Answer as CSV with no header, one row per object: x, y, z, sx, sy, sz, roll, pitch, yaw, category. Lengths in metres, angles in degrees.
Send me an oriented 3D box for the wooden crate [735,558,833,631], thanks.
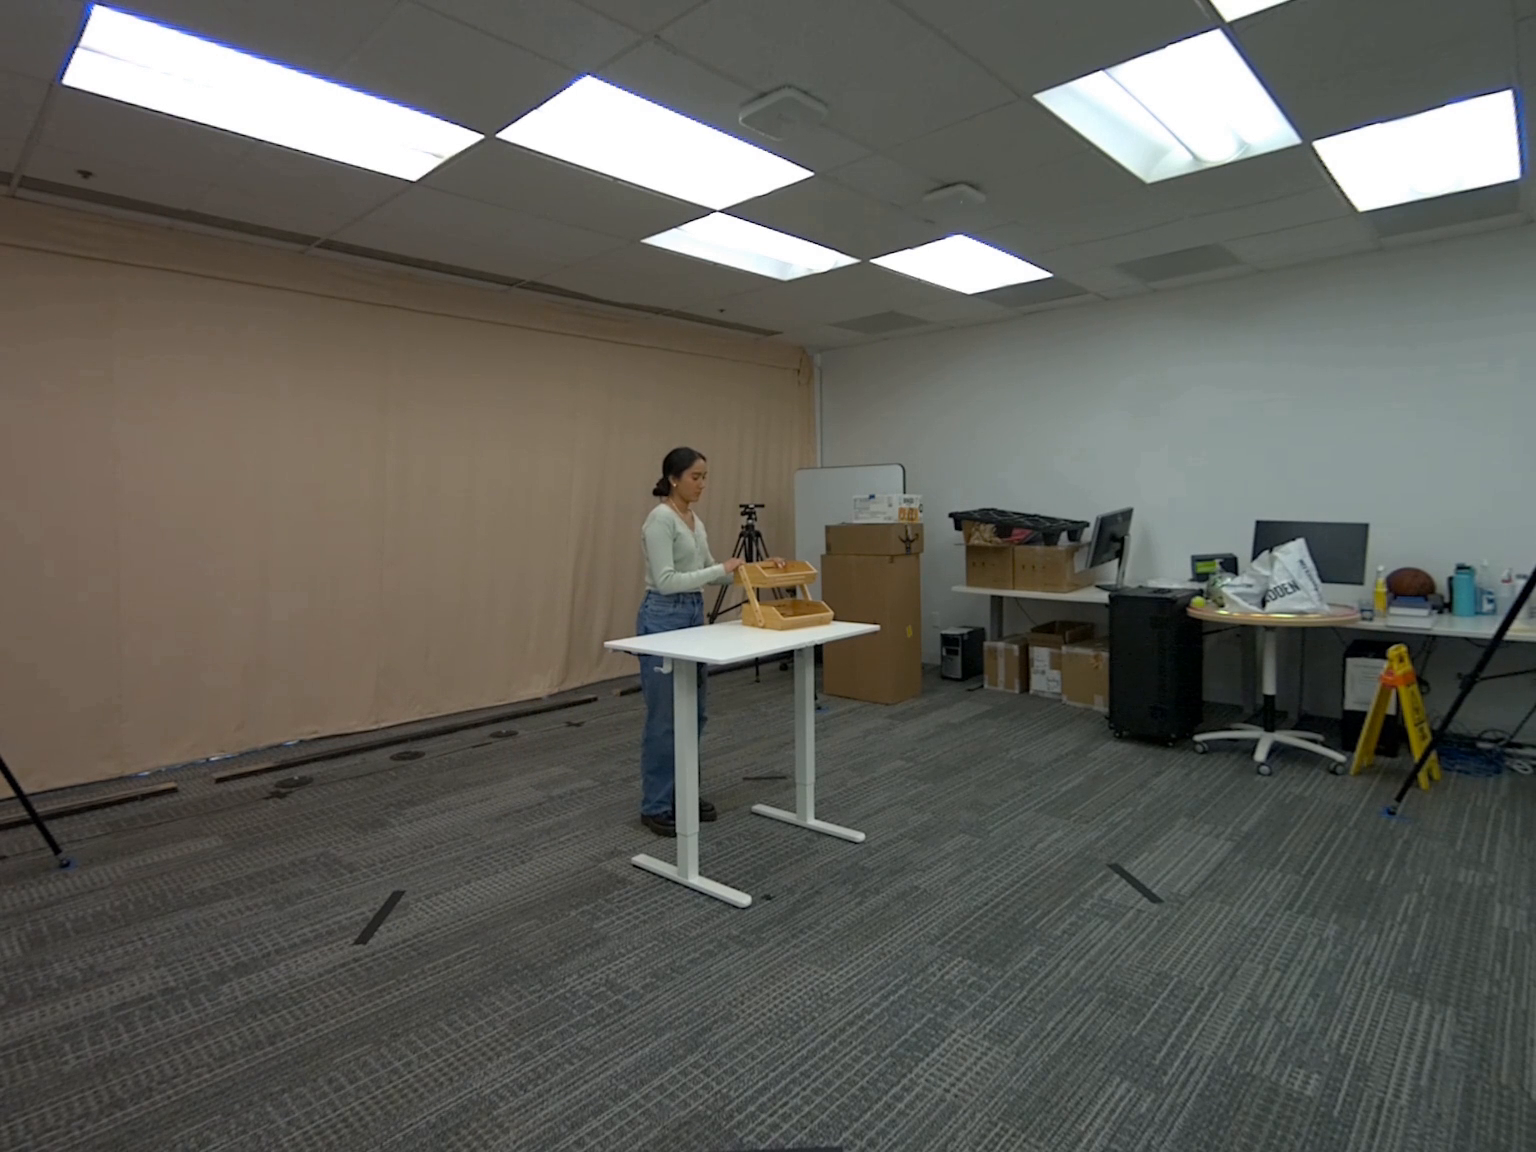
0.070,0.075,3.592,0.314,0.273,0.312,-3,4,-41,wooden crate
